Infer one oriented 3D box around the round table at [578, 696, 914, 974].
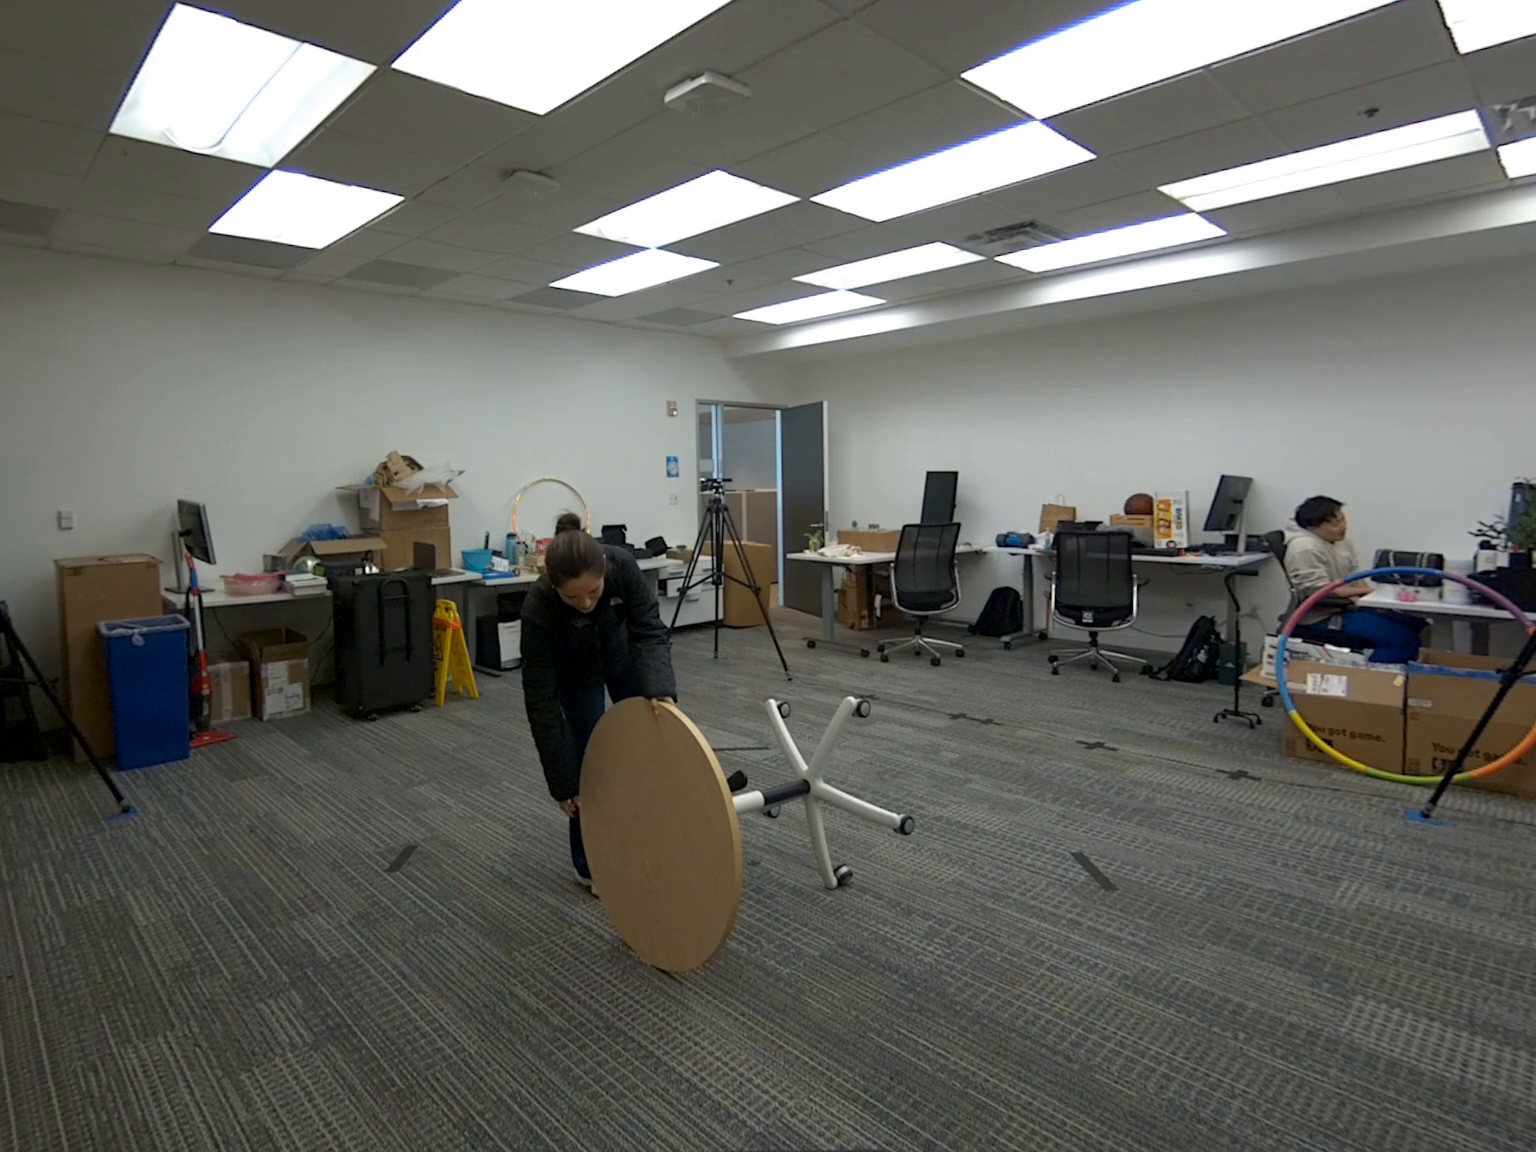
[{"bbox_3d":[-0.063,0.717,2.752,0.765,0.783,0.809,-3,5,-43],"label":"round table"}]
